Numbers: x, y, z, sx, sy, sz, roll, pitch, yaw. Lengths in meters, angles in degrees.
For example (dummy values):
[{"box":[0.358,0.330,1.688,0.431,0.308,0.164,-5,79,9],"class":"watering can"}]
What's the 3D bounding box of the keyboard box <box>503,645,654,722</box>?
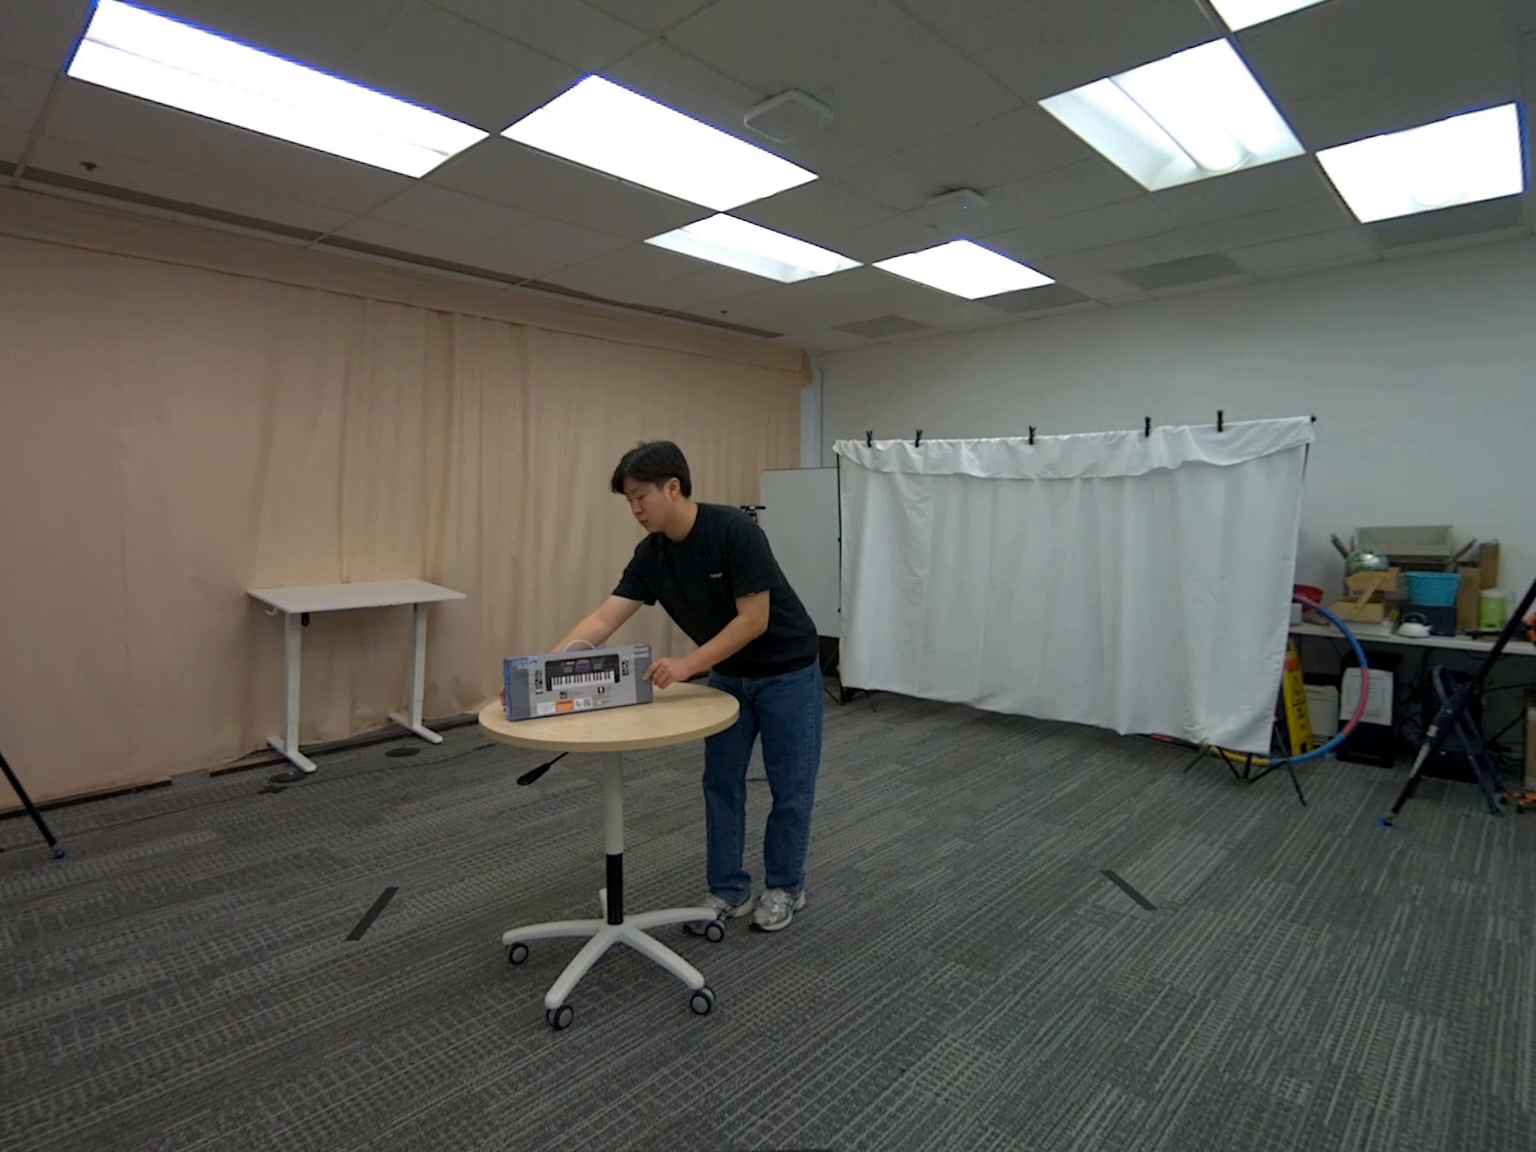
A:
[{"box":[-0.557,0.310,2.466,0.425,0.176,0.060,-3,-2,-29],"class":"keyboard box"}]
